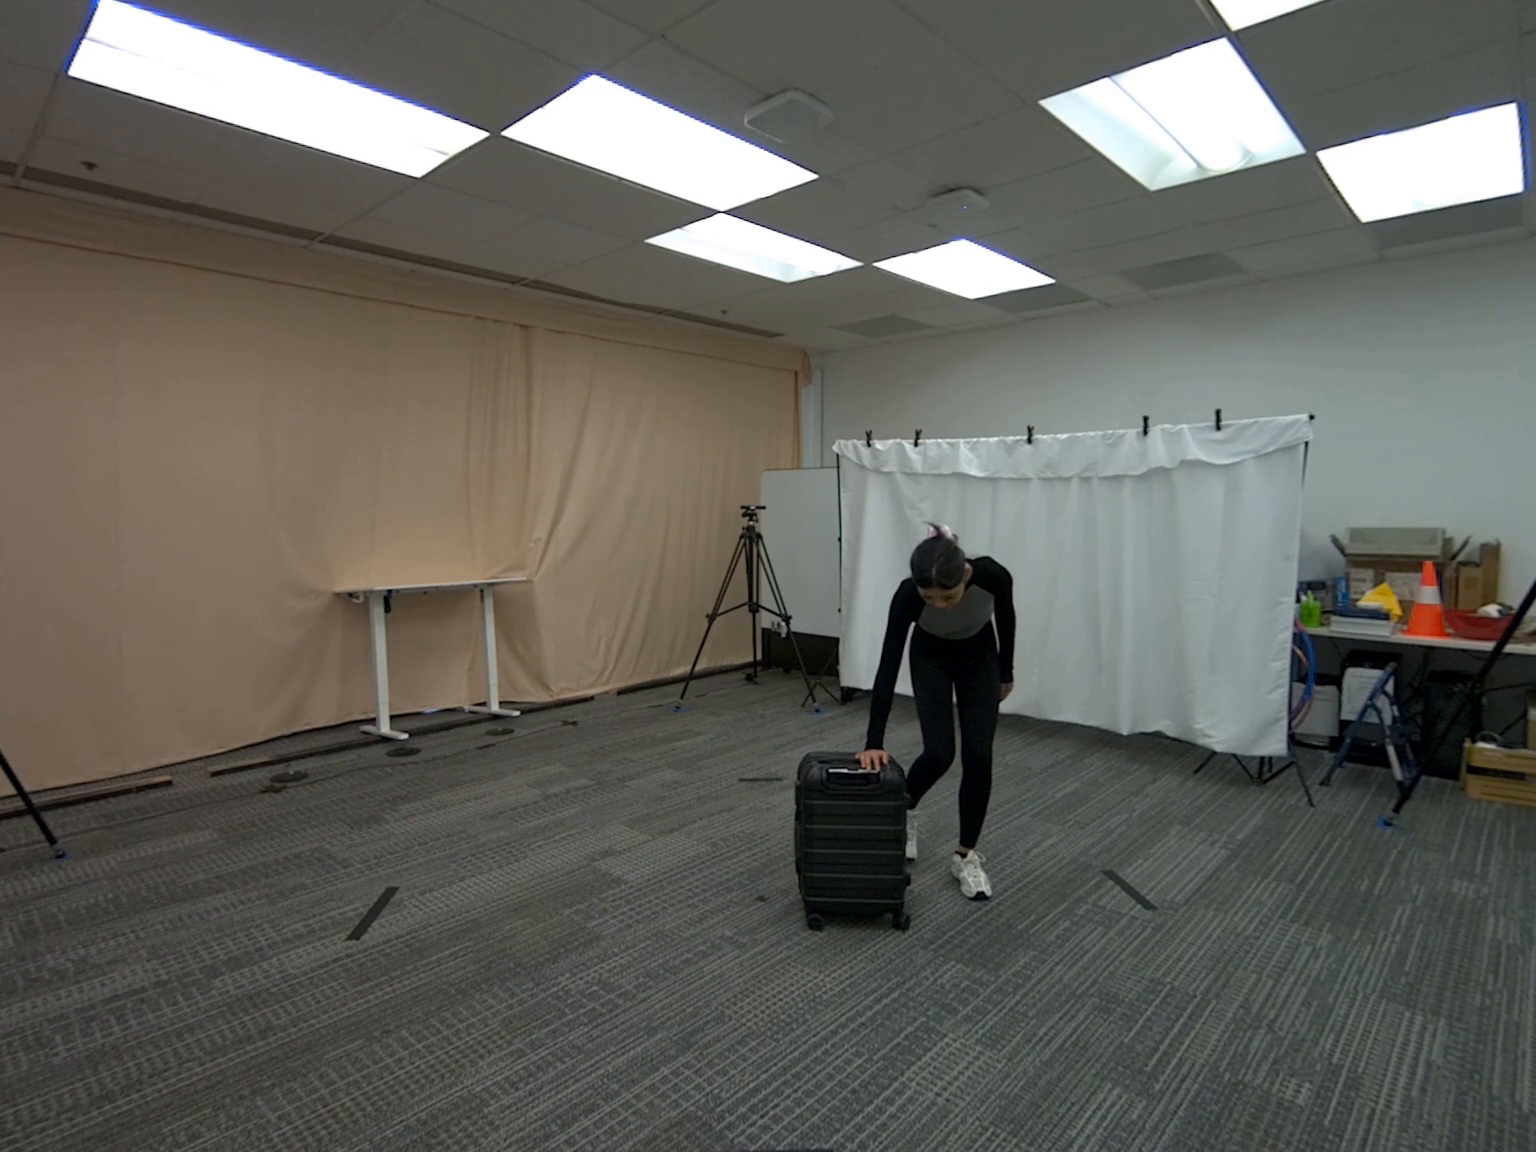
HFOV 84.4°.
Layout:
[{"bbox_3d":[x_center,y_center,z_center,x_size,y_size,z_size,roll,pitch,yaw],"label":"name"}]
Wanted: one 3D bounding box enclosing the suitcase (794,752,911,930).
[{"bbox_3d":[0.285,0.878,2.858,0.376,0.548,0.248,0,3,1],"label":"suitcase"}]
